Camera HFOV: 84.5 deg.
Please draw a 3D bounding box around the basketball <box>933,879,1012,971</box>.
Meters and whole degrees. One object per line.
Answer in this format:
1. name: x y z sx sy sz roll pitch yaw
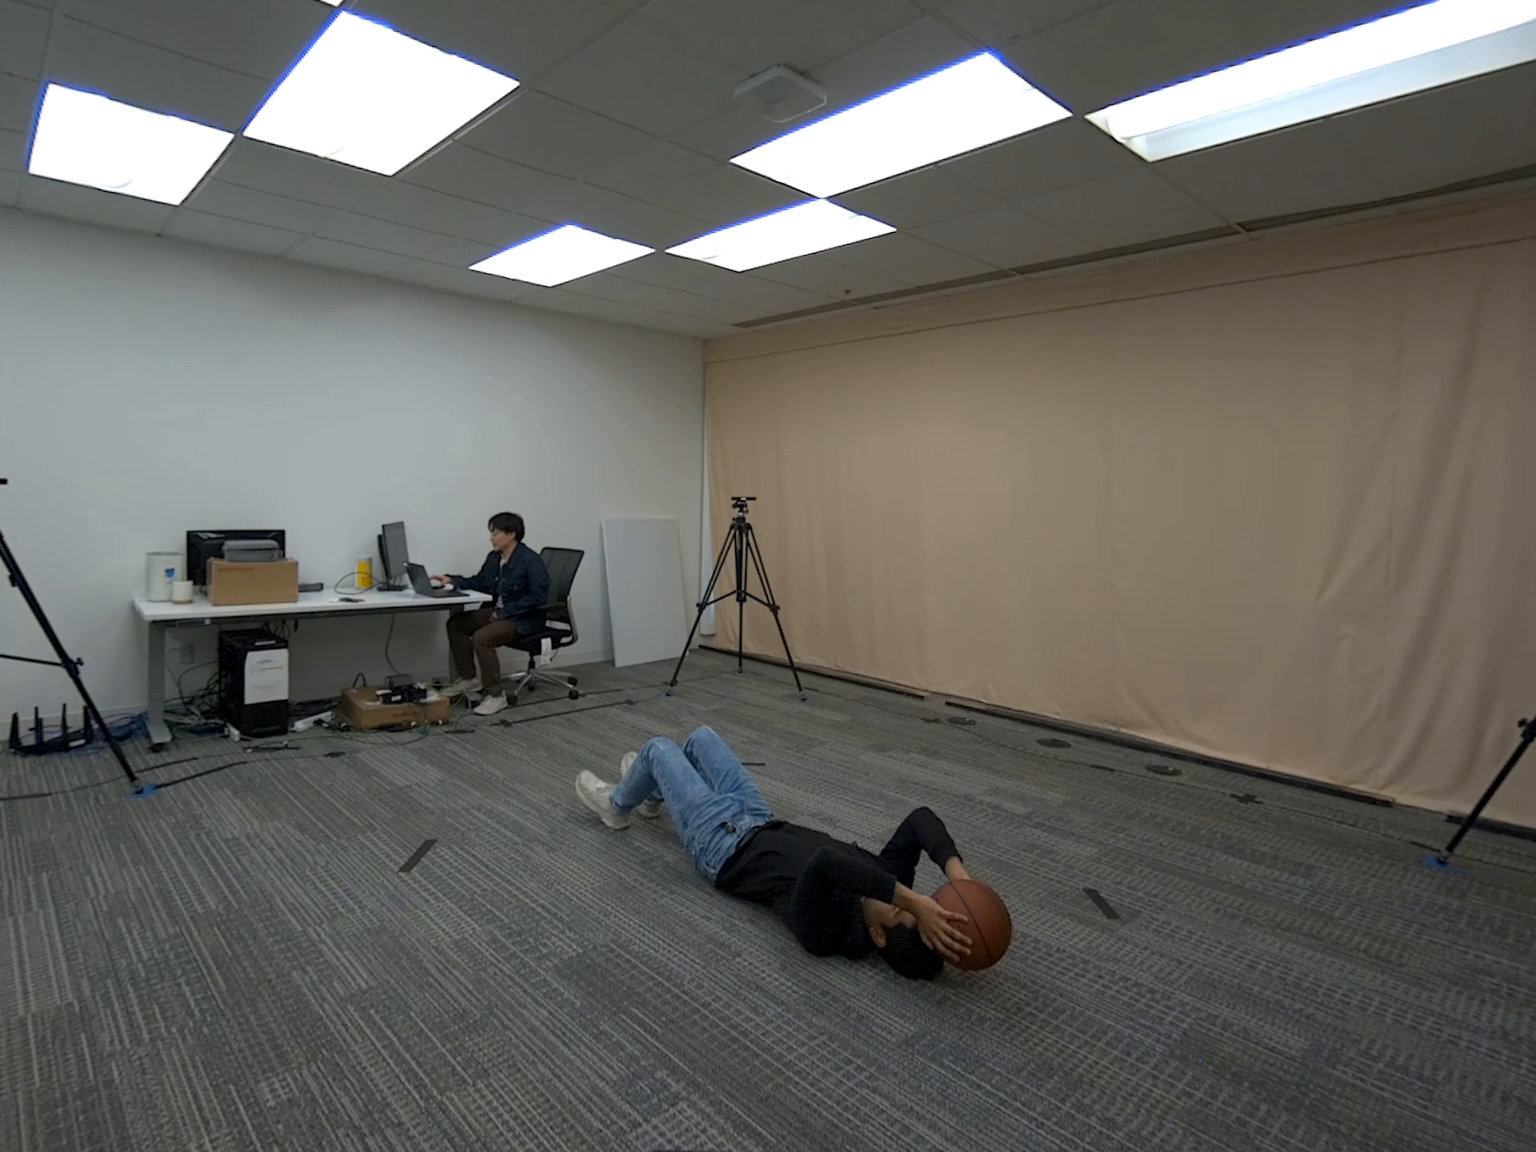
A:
1. basketball: 0.562 0.982 2.404 0.236 0.235 0.237 1 4 -1
